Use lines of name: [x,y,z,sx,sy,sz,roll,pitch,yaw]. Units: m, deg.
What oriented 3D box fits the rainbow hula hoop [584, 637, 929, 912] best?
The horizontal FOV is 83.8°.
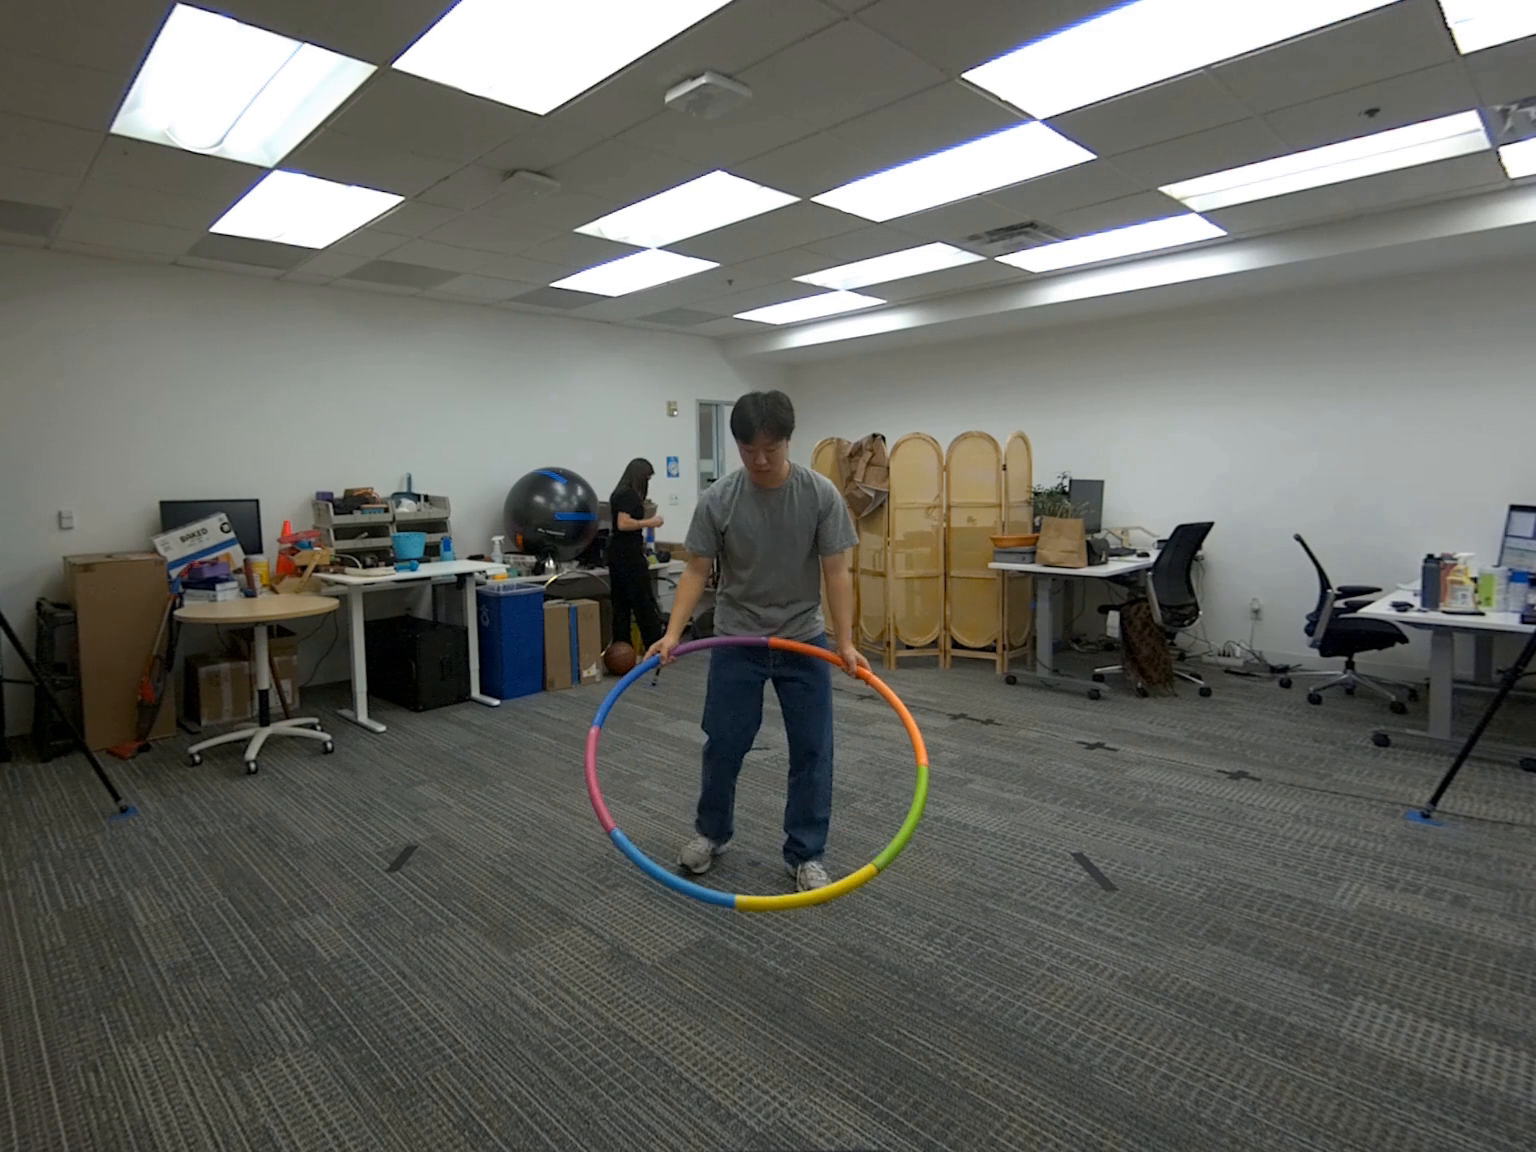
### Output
rainbow hula hoop: [-0.049,0.499,2.498,0.977,0.035,1.005,0,37,-2]
